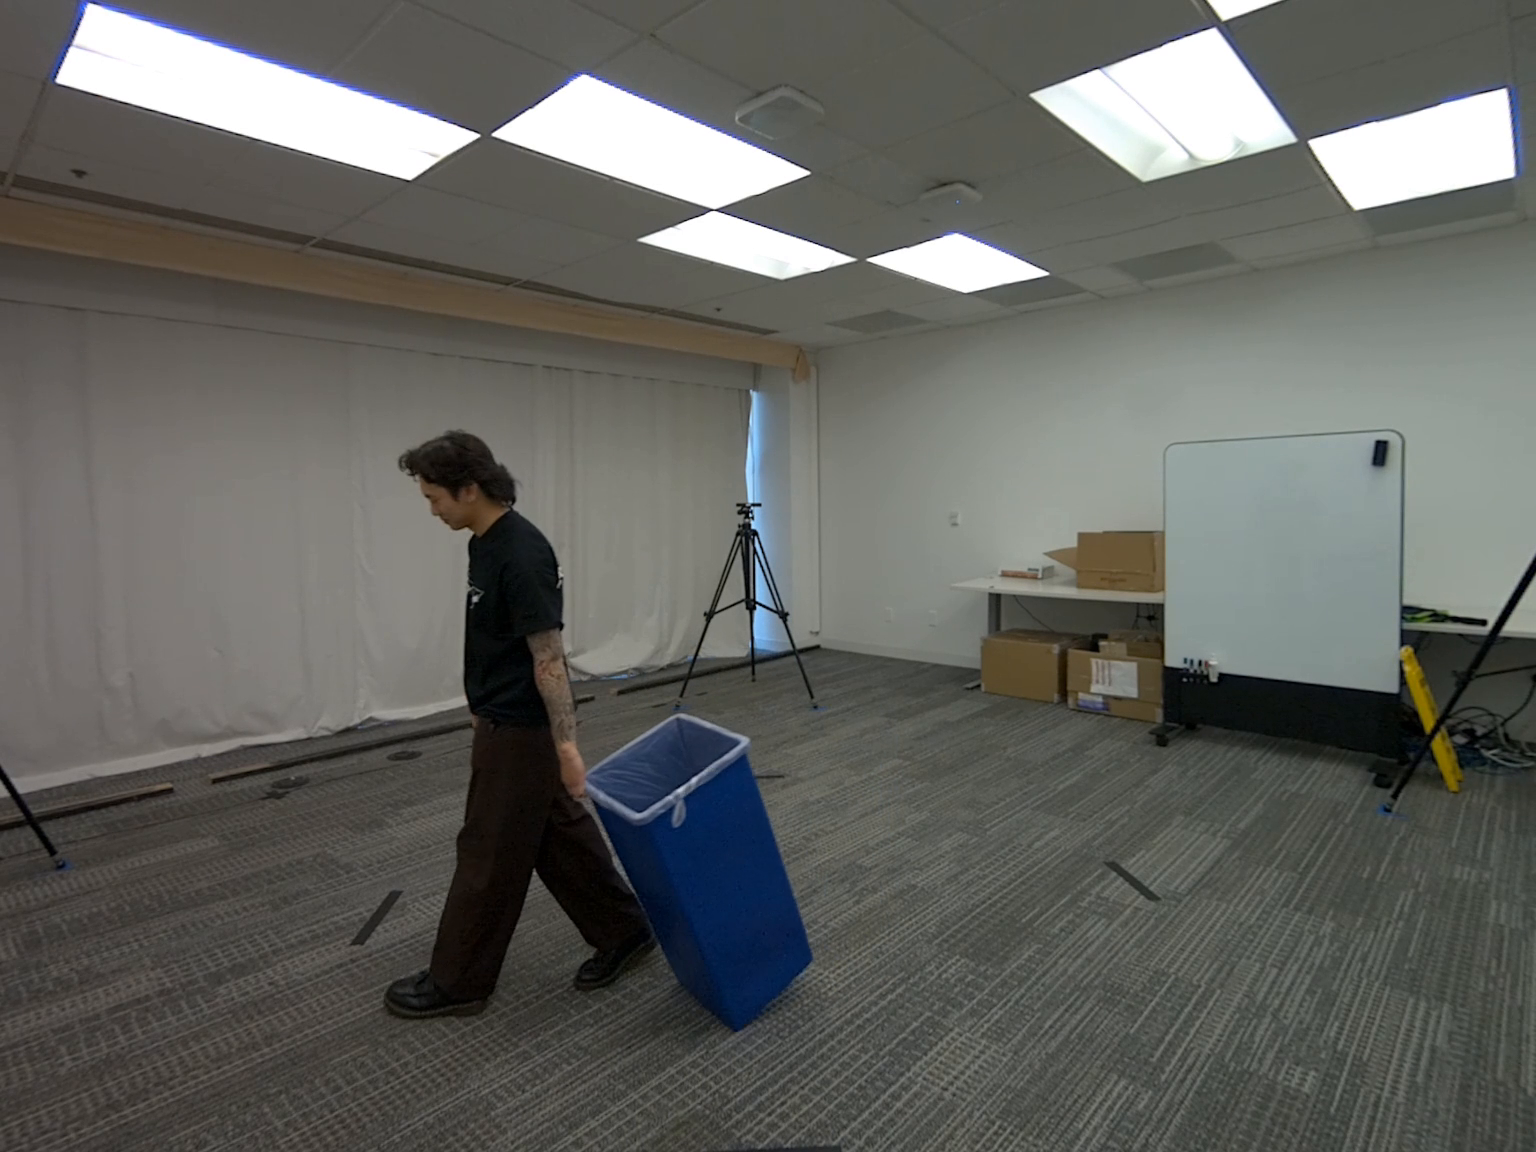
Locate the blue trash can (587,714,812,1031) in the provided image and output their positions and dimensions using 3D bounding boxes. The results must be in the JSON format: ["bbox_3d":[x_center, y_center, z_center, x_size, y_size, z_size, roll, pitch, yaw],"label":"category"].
[{"bbox_3d":[-0.189,0.809,2.312,0.371,0.703,0.386,-28,19,-32],"label":"blue trash can"}]
